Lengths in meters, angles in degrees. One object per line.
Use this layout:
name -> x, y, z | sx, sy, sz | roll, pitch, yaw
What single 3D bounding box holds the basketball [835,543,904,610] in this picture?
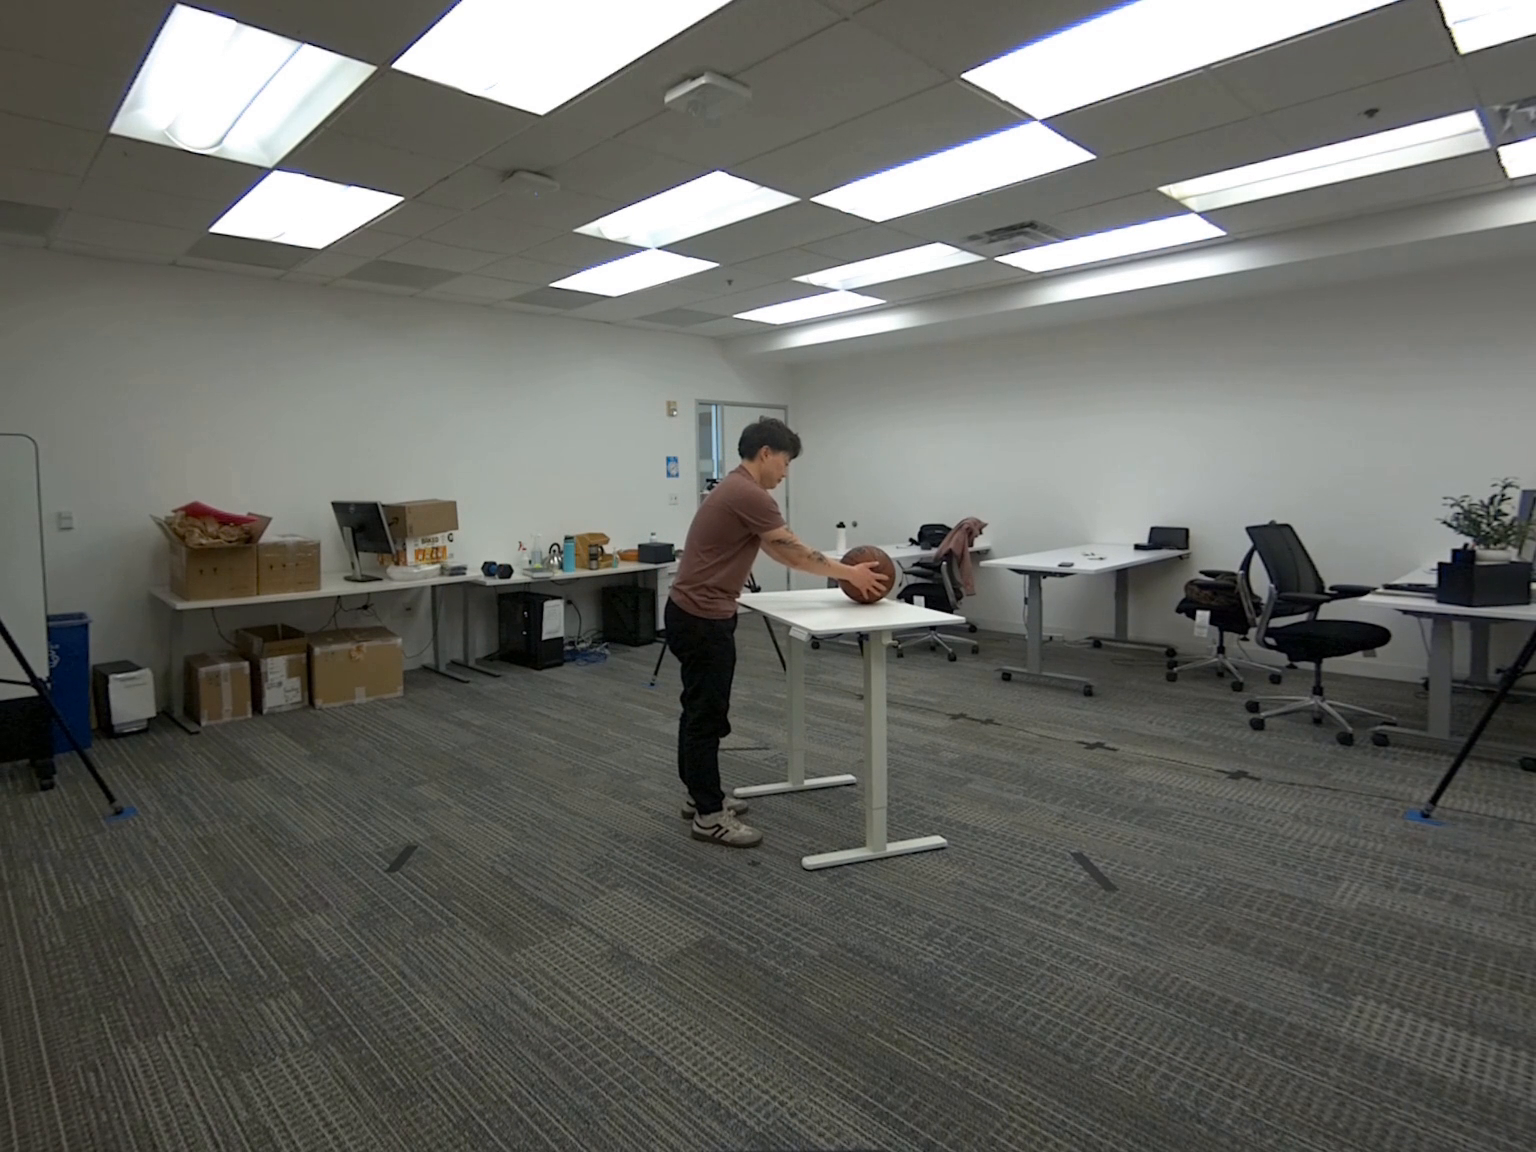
basketball -> 0.406, -0.005, 3.479 | 0.236, 0.235, 0.237 | -1, 5, -2
